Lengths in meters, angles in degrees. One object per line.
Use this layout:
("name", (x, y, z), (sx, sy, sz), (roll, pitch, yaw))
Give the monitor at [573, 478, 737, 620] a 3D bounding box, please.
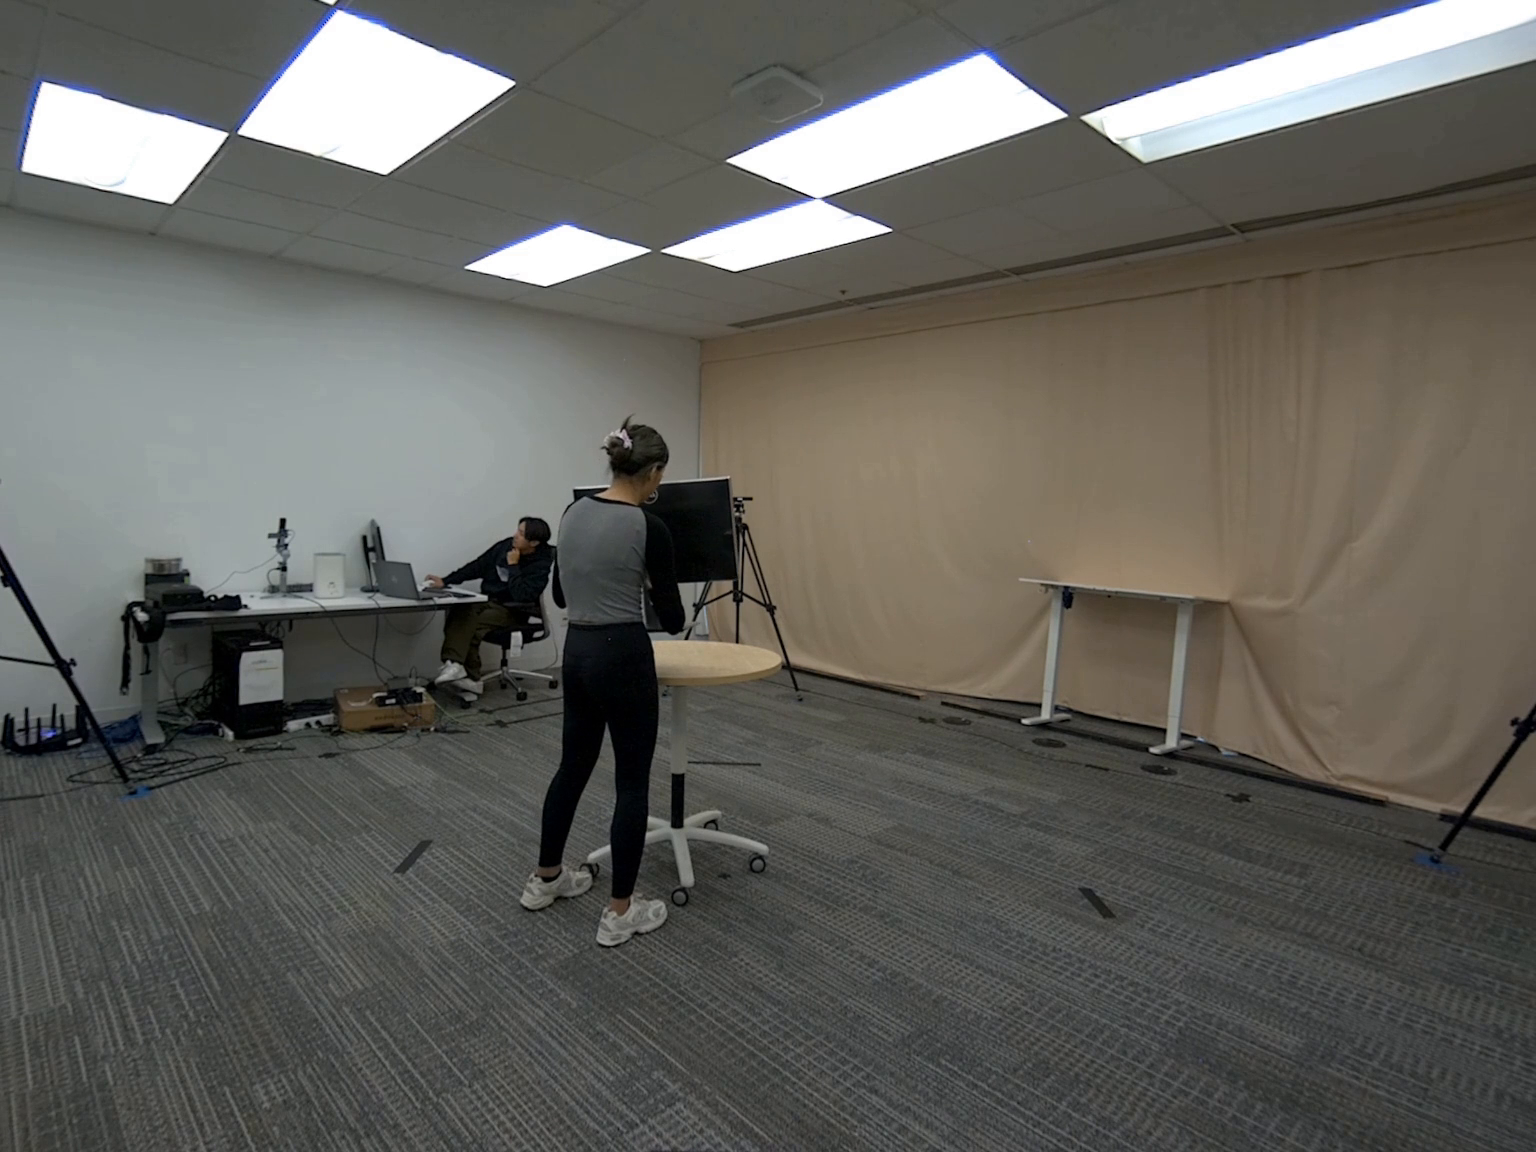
("monitor", (-0.392, -0.063, 2.890), (0.542, 0.522, 0.186), (-3, 1, 7))
